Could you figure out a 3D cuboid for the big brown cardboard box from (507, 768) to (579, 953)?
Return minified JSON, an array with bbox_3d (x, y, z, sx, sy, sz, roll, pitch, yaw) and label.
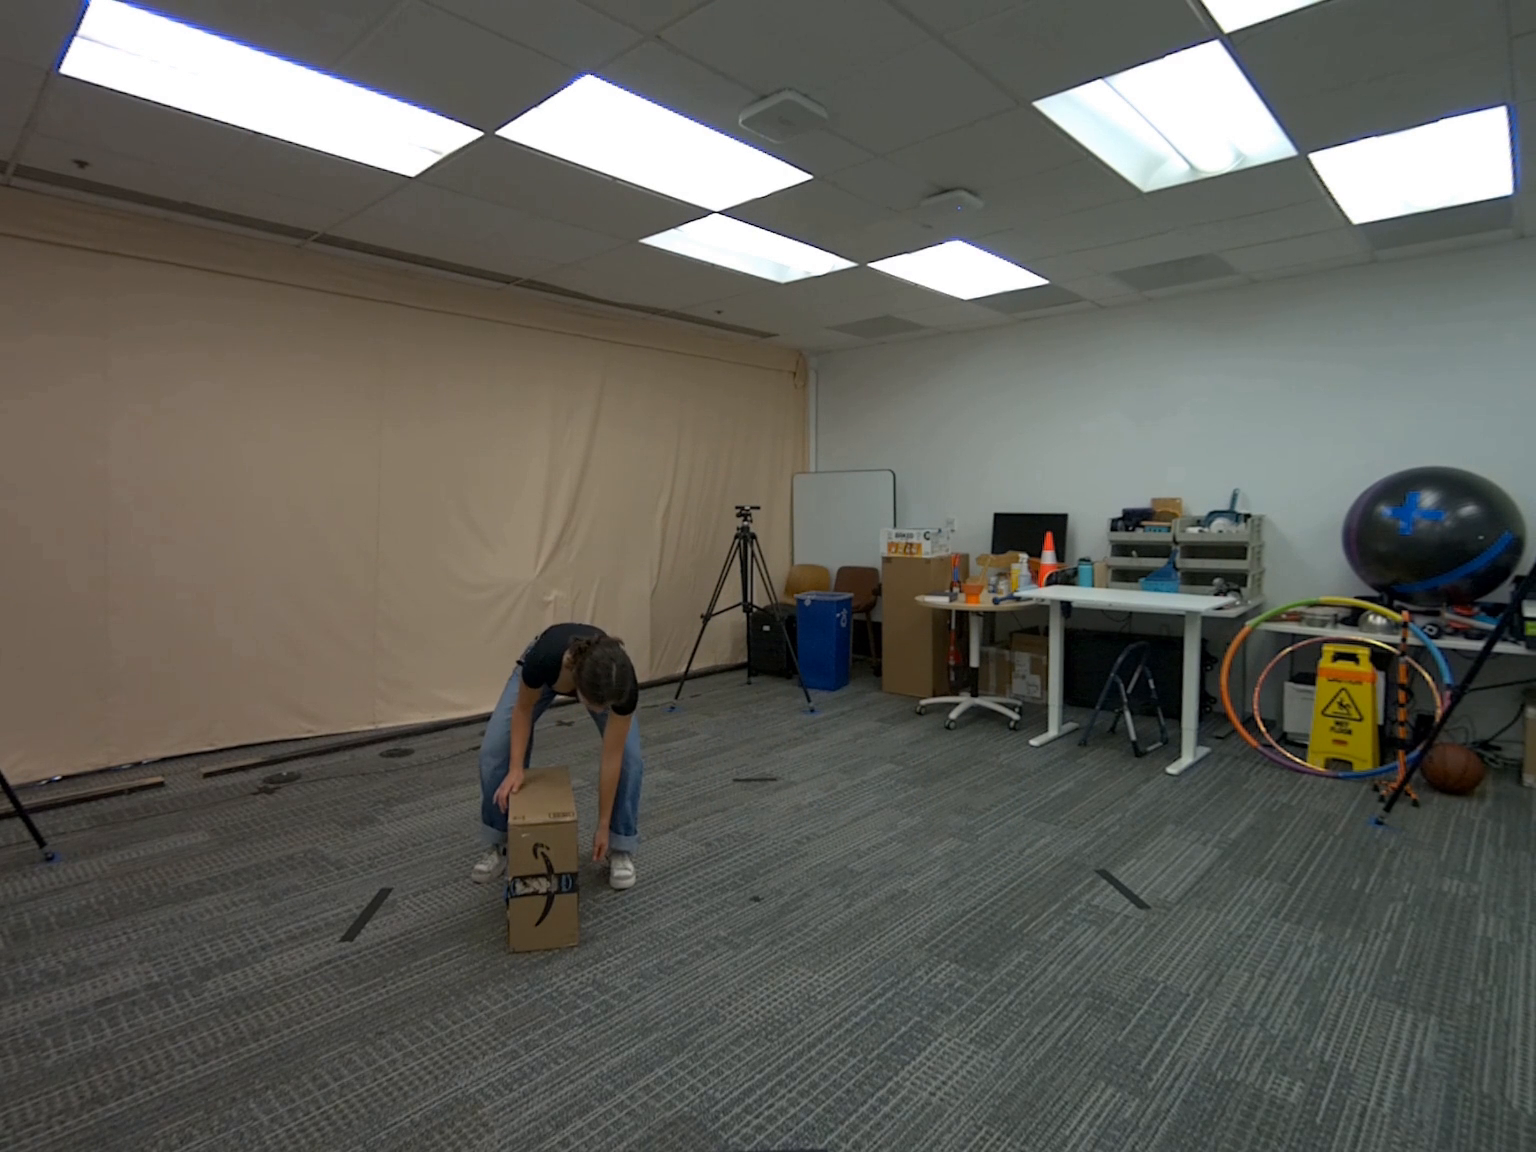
[{"bbox_3d":[-0.778,0.947,2.899,0.230,0.417,0.598,0,3,-15],"label":"big brown cardboard box"}]
